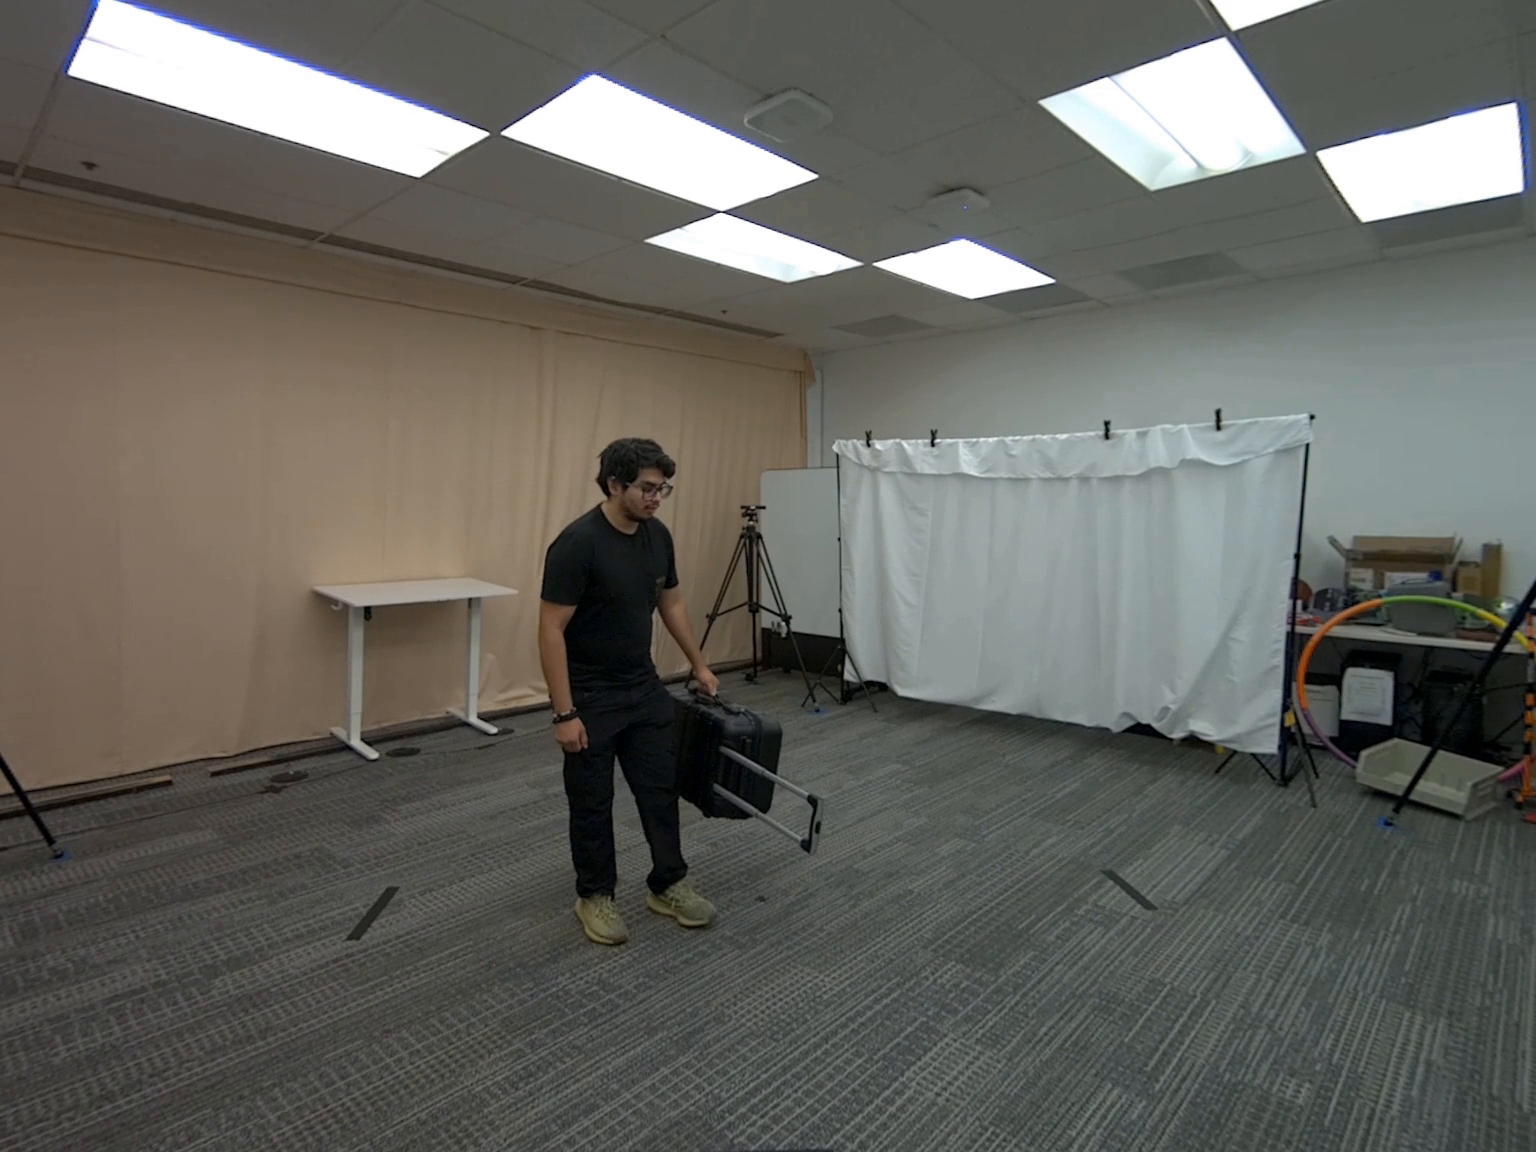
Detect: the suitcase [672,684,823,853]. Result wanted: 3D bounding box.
[{"bbox_3d":[-0.072,0.646,2.833,0.249,0.384,1.011,8,2,-37],"label":"suitcase"}]
